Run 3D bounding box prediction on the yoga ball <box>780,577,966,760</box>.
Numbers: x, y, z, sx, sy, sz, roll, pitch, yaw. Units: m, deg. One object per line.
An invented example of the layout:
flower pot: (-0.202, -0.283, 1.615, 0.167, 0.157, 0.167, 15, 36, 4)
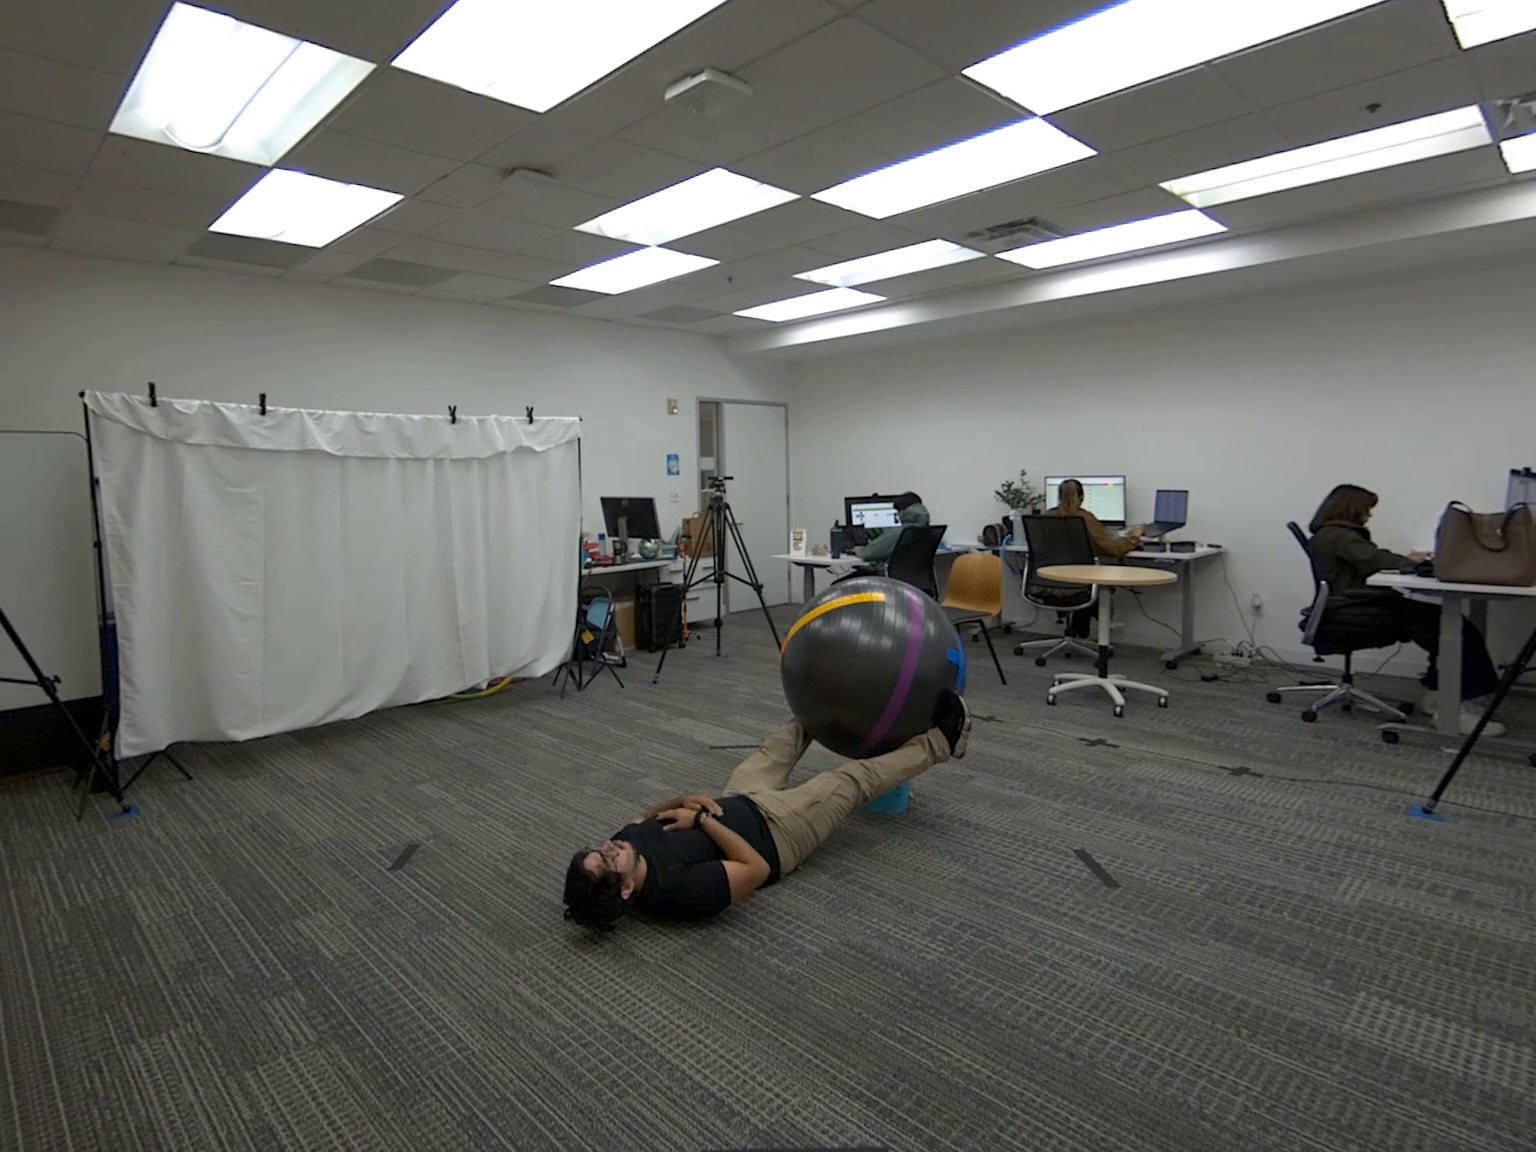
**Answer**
yoga ball: (0.434, 0.384, 3.554, 0.757, 0.755, 0.762, -1, 5, -2)
